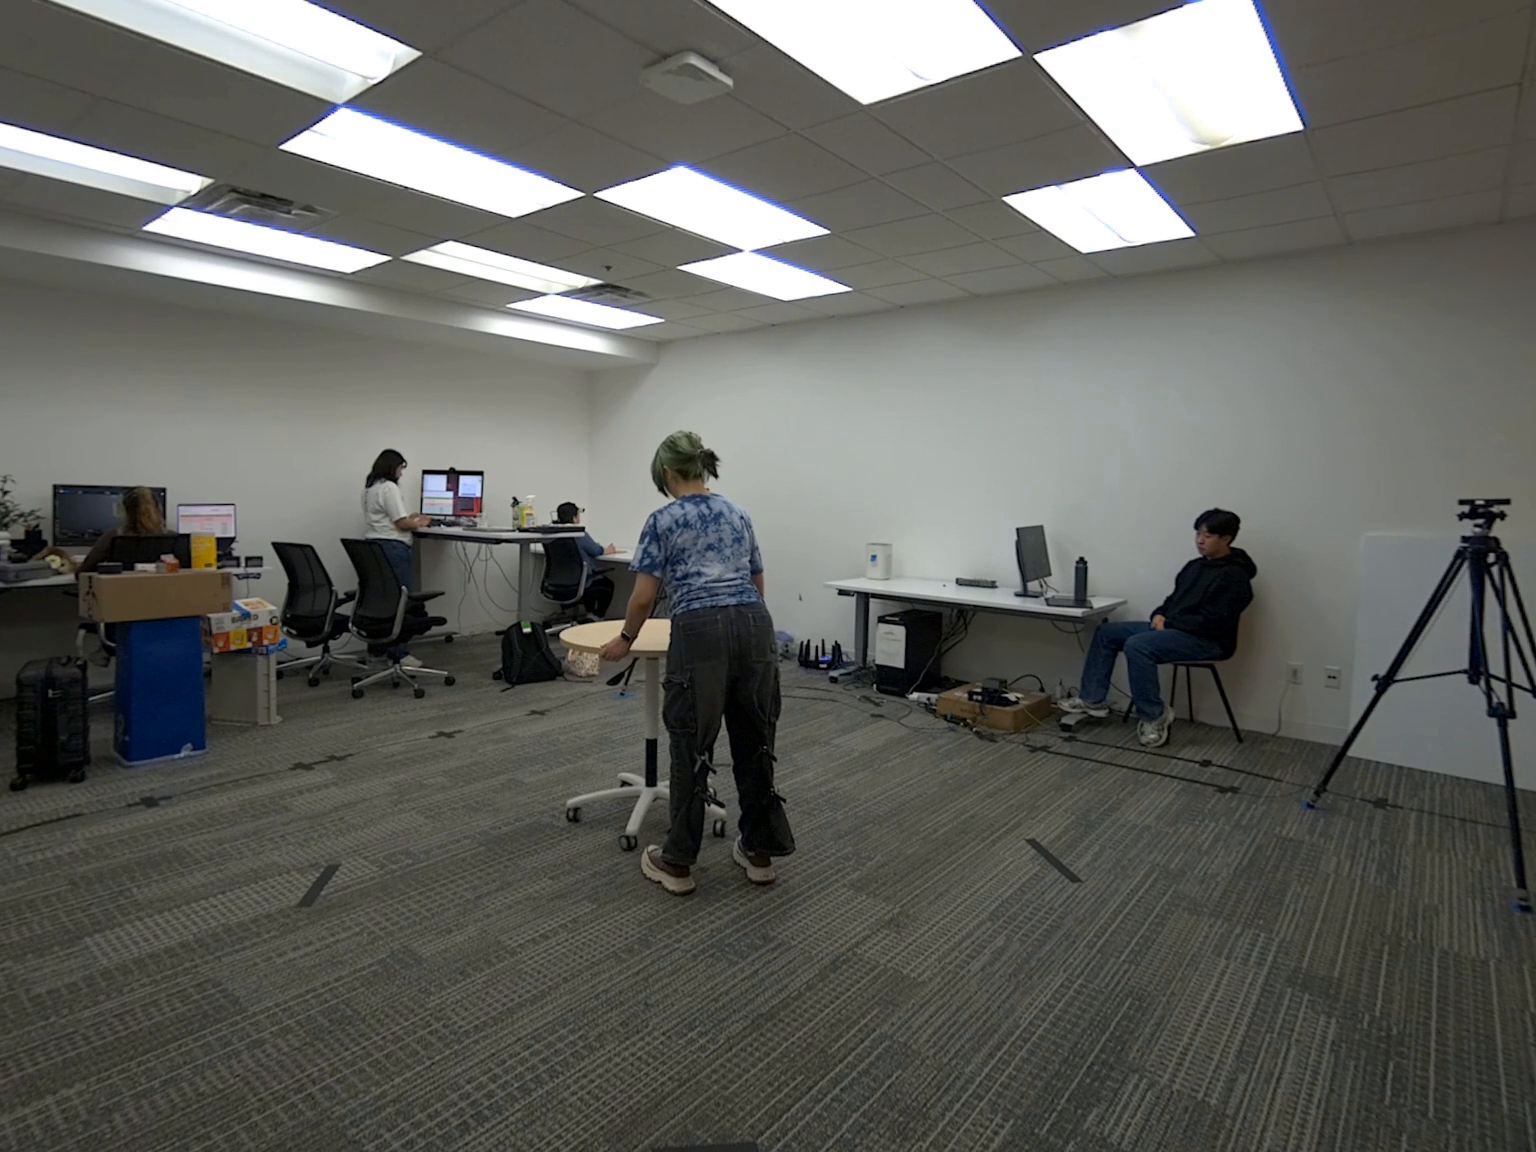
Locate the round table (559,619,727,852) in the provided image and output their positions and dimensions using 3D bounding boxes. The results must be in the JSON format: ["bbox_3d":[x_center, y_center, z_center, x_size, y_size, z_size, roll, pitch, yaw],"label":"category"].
[{"bbox_3d":[-0.502,0.631,3.561,0.763,0.791,0.768,1,4,-2],"label":"round table"}]
